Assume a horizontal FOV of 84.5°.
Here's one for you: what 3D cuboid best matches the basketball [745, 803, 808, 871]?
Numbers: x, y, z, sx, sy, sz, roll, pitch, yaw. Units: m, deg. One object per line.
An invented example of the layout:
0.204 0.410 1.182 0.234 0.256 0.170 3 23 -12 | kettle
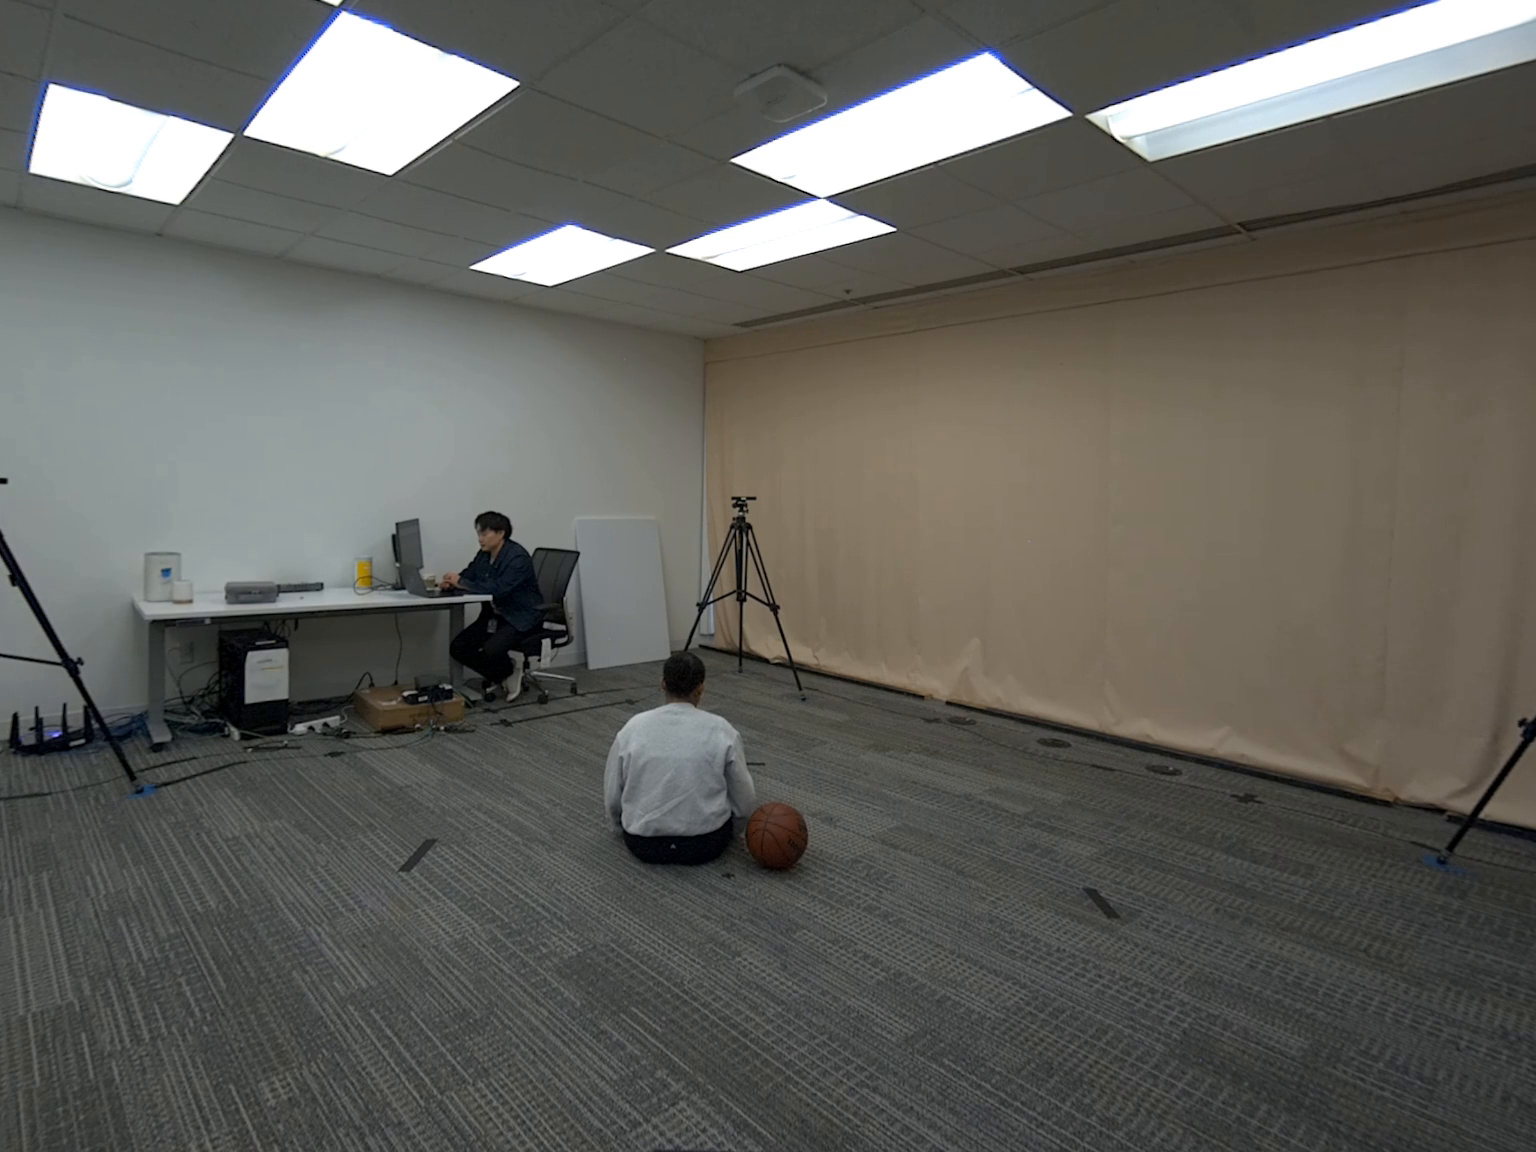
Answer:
0.027 0.978 3.190 0.236 0.235 0.237 1 4 -1 | basketball
